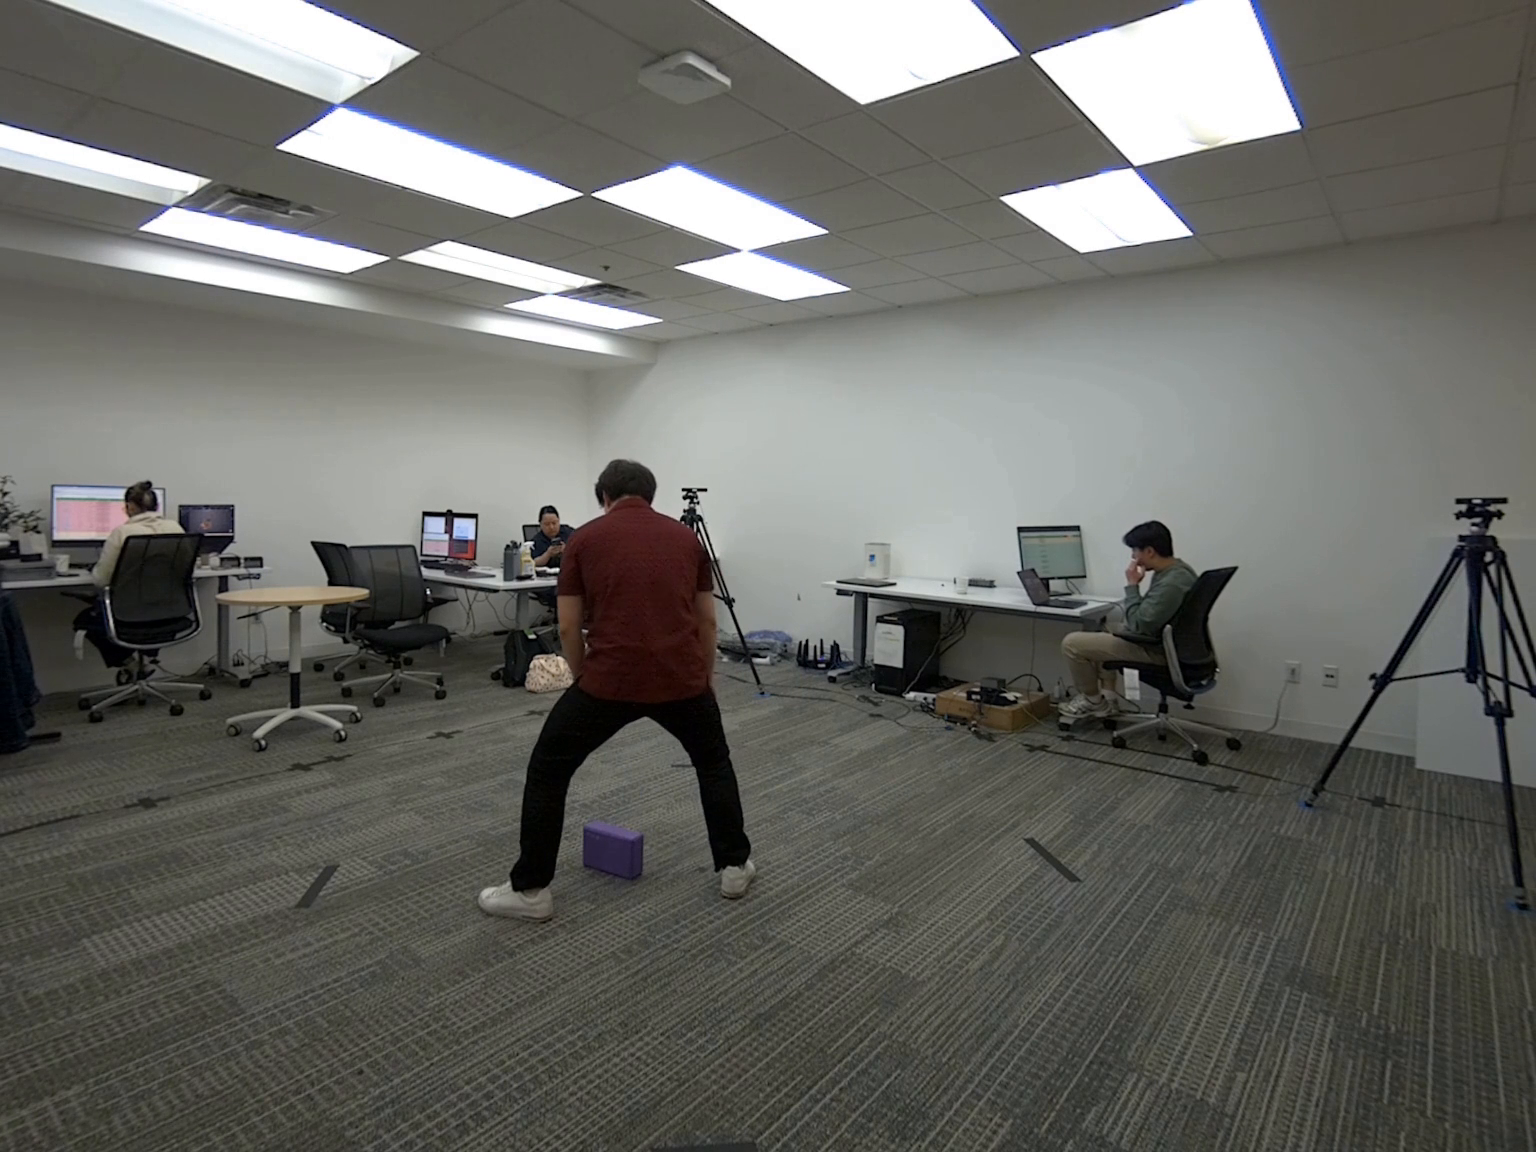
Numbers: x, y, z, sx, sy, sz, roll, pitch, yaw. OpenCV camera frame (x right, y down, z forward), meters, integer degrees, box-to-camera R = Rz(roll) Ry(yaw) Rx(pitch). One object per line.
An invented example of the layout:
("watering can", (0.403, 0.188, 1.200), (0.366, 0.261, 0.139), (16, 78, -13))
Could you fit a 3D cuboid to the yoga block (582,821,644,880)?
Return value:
("yoga block", (-0.575, 0.988, 3.088), (0.236, 0.149, 0.074), (3, 3, 29))
